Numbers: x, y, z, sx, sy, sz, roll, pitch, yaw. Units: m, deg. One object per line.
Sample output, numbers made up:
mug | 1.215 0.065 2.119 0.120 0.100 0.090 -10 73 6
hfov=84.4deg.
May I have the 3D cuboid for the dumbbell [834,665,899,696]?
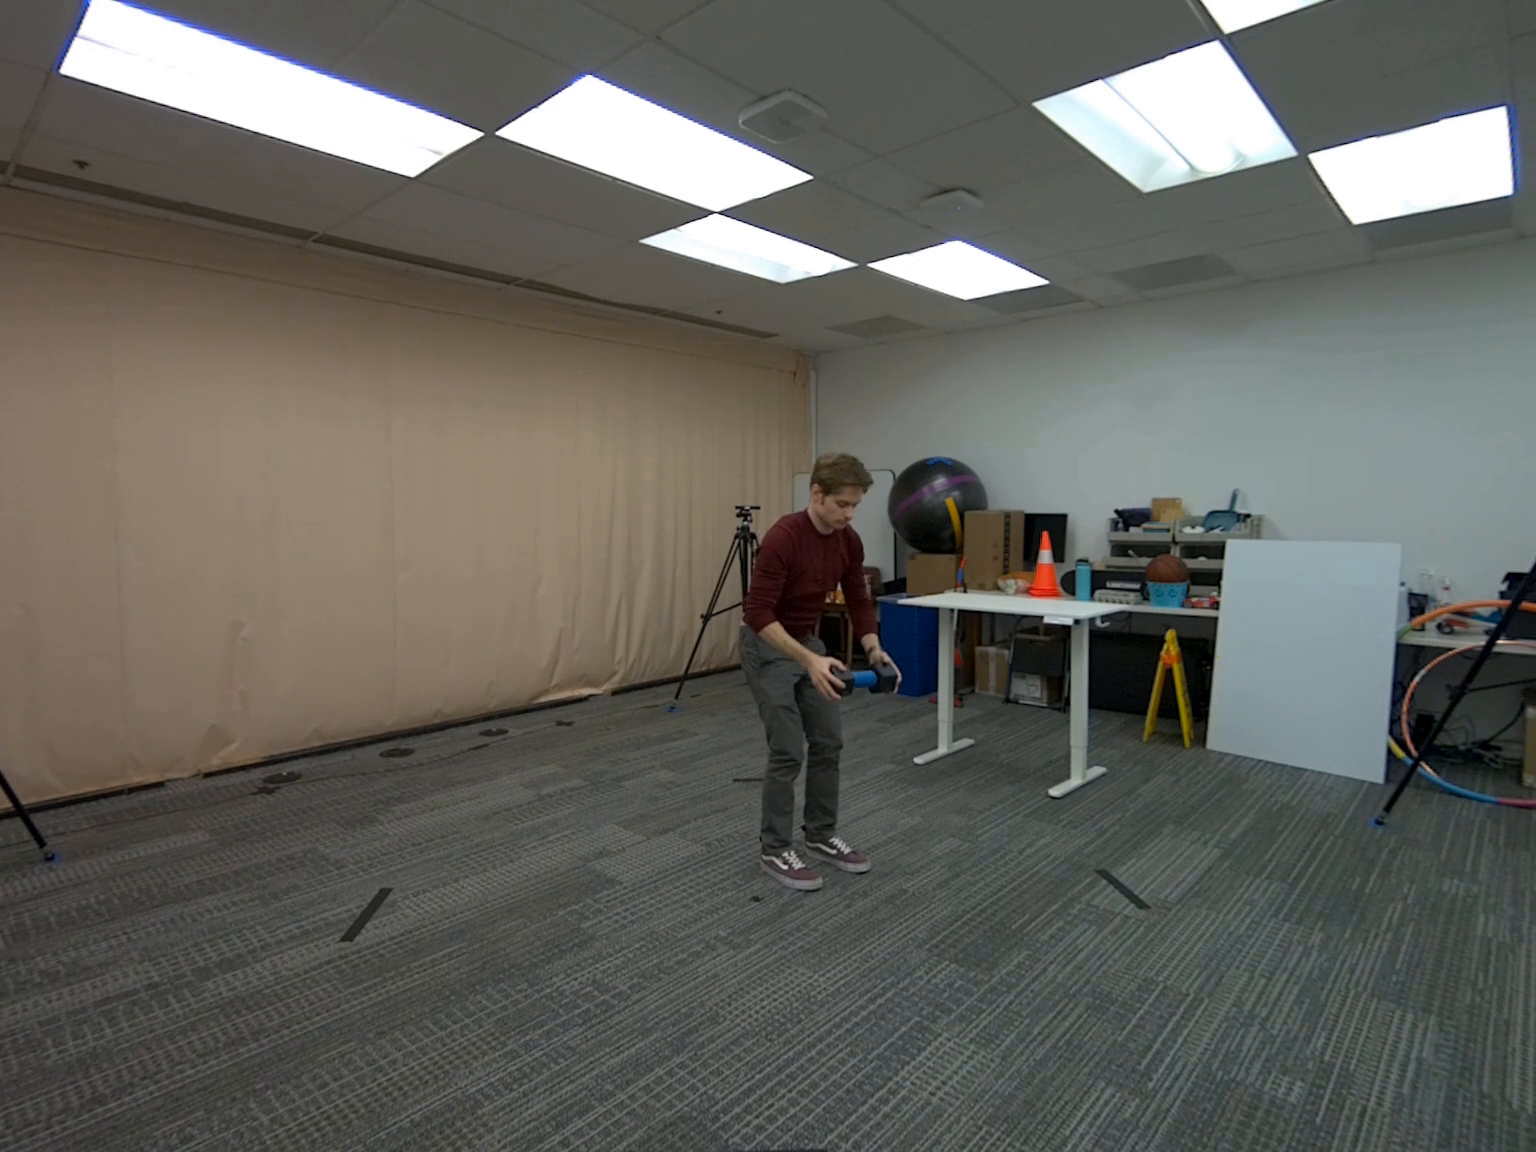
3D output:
dumbbell | 0.333 0.363 3.000 0.285 0.108 0.127 1 40 -32
